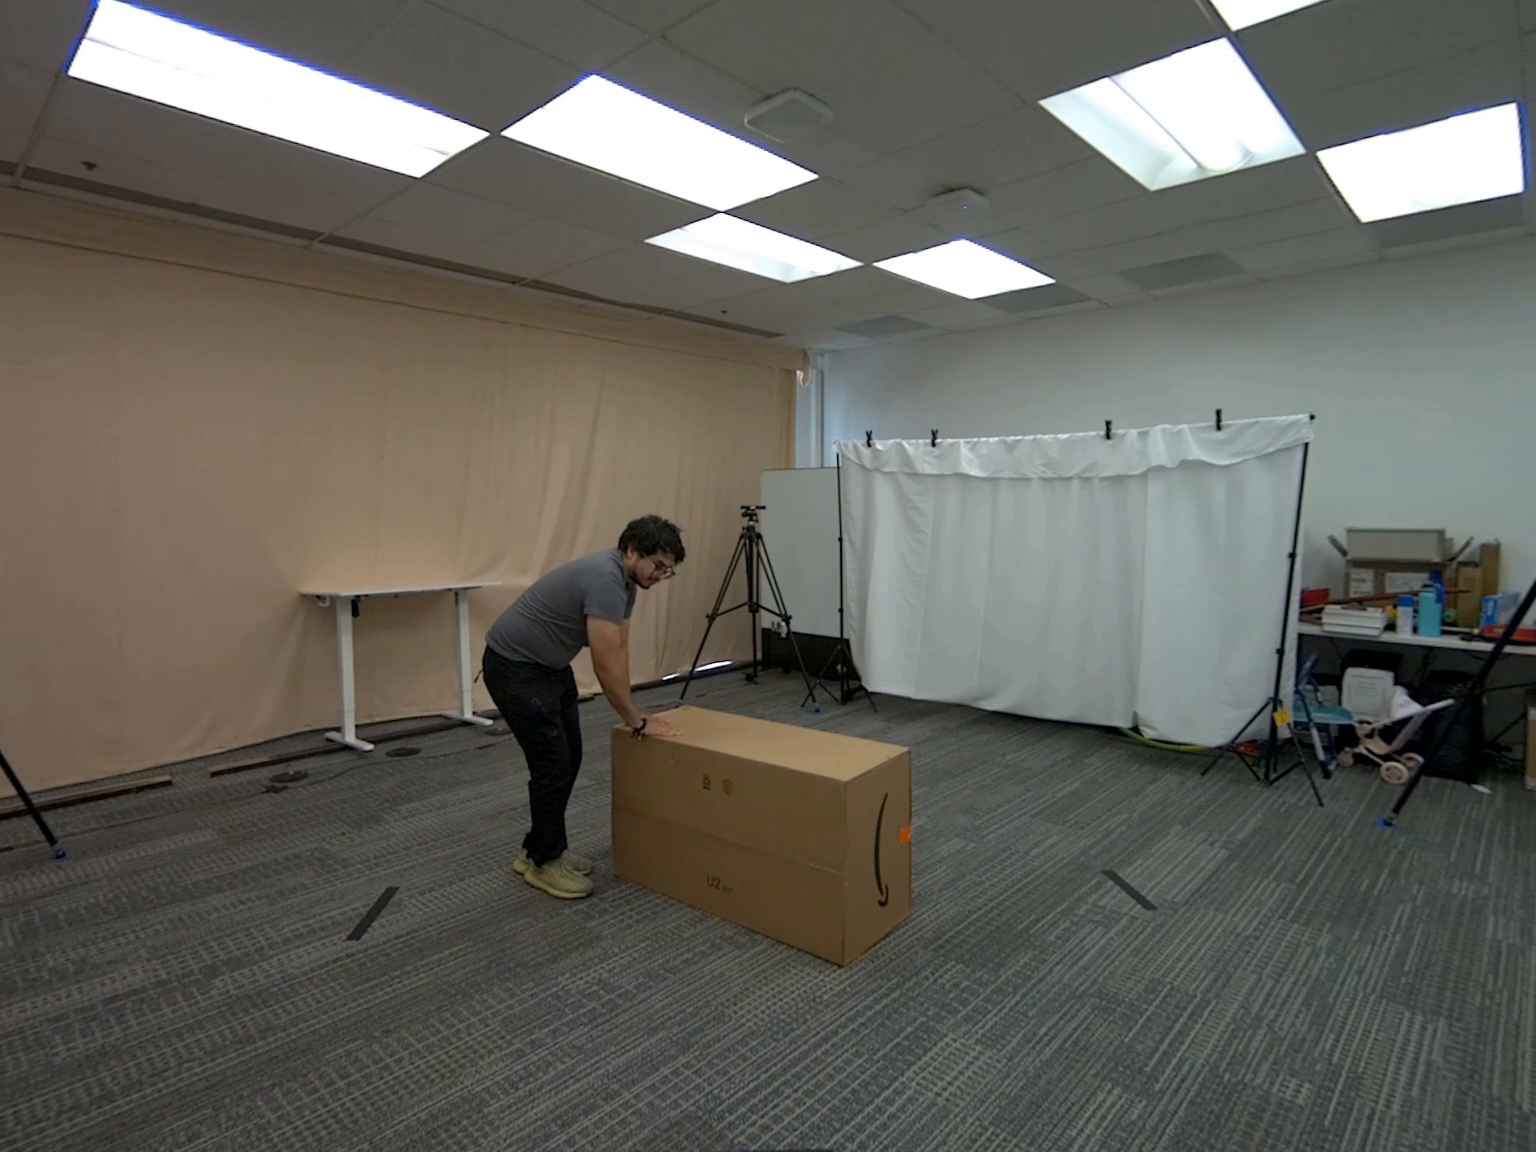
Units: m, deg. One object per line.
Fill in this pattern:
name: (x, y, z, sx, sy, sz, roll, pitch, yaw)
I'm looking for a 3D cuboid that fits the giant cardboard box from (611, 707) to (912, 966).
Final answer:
giant cardboard box: (-0.043, 0.854, 3.000, 1.059, 0.576, 0.413, 3, 4, 39)
